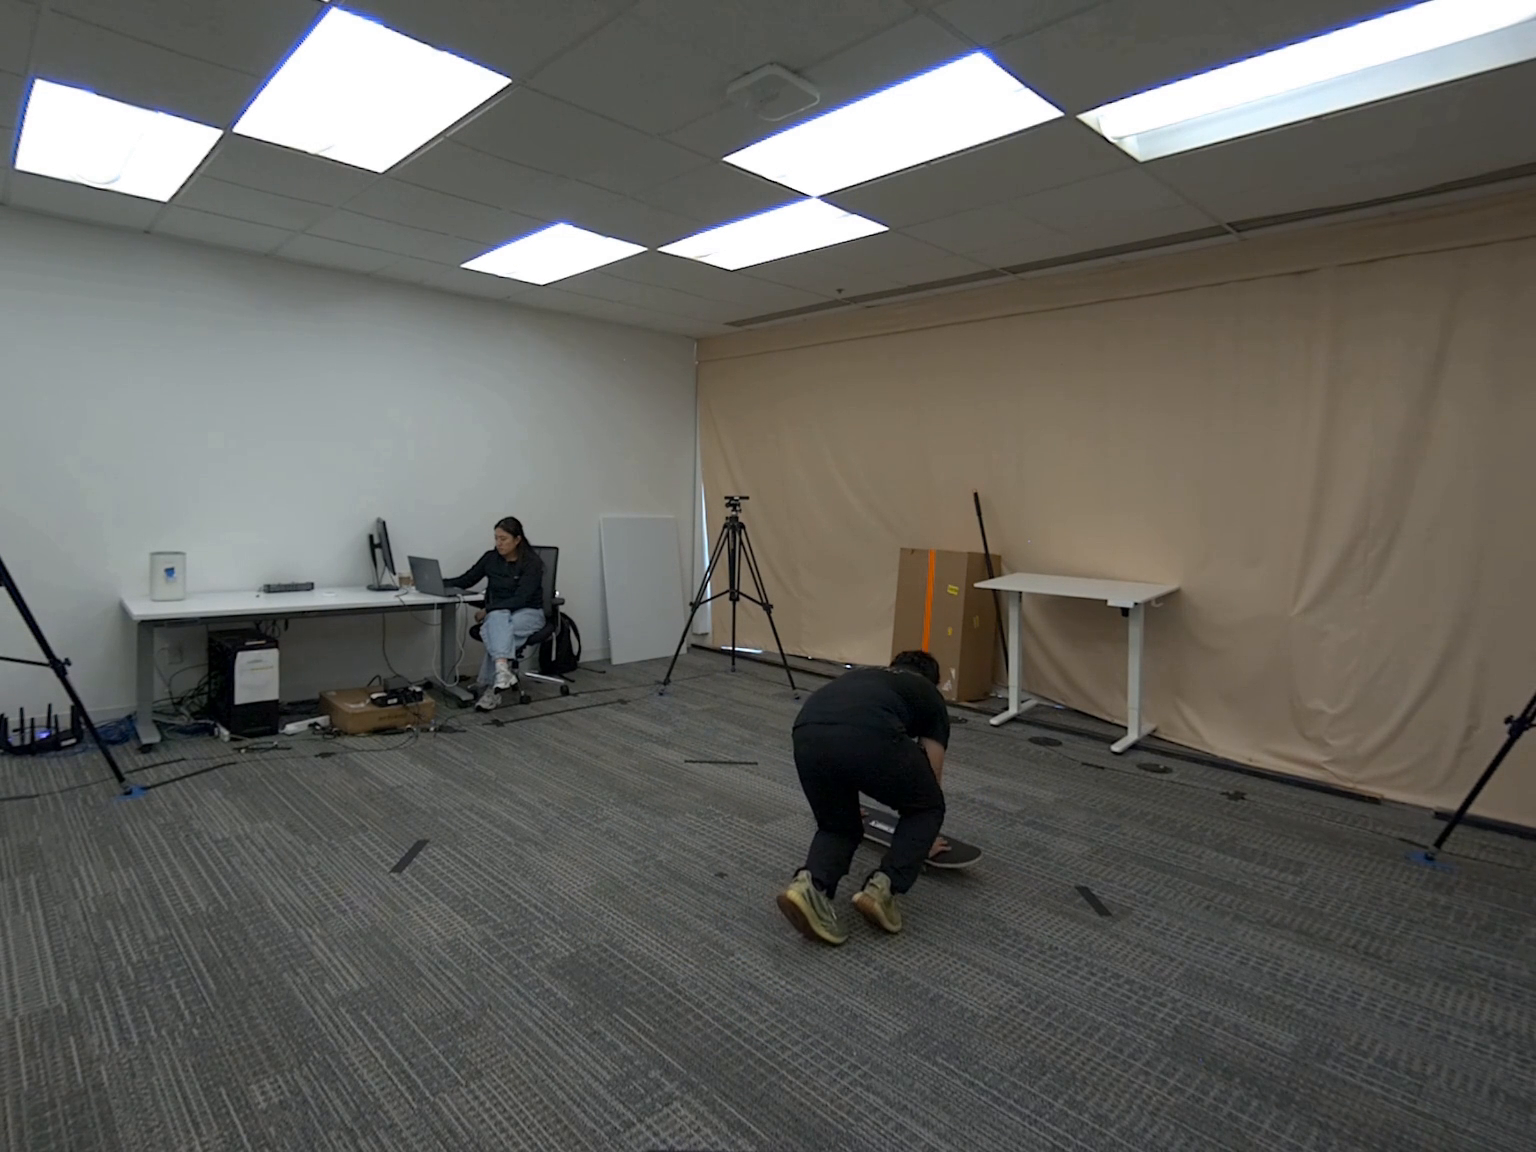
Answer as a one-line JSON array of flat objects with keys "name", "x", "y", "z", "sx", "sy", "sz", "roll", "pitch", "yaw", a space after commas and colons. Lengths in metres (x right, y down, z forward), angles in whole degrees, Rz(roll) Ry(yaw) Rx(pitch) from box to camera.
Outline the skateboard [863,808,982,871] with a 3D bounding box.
[{"name": "skateboard", "x": 0.482, "y": 1.041, "z": 3.363, "sx": 0.190, "sy": 0.109, "sz": 0.806, "roll": -12, "pitch": 13, "yaw": -42}]
